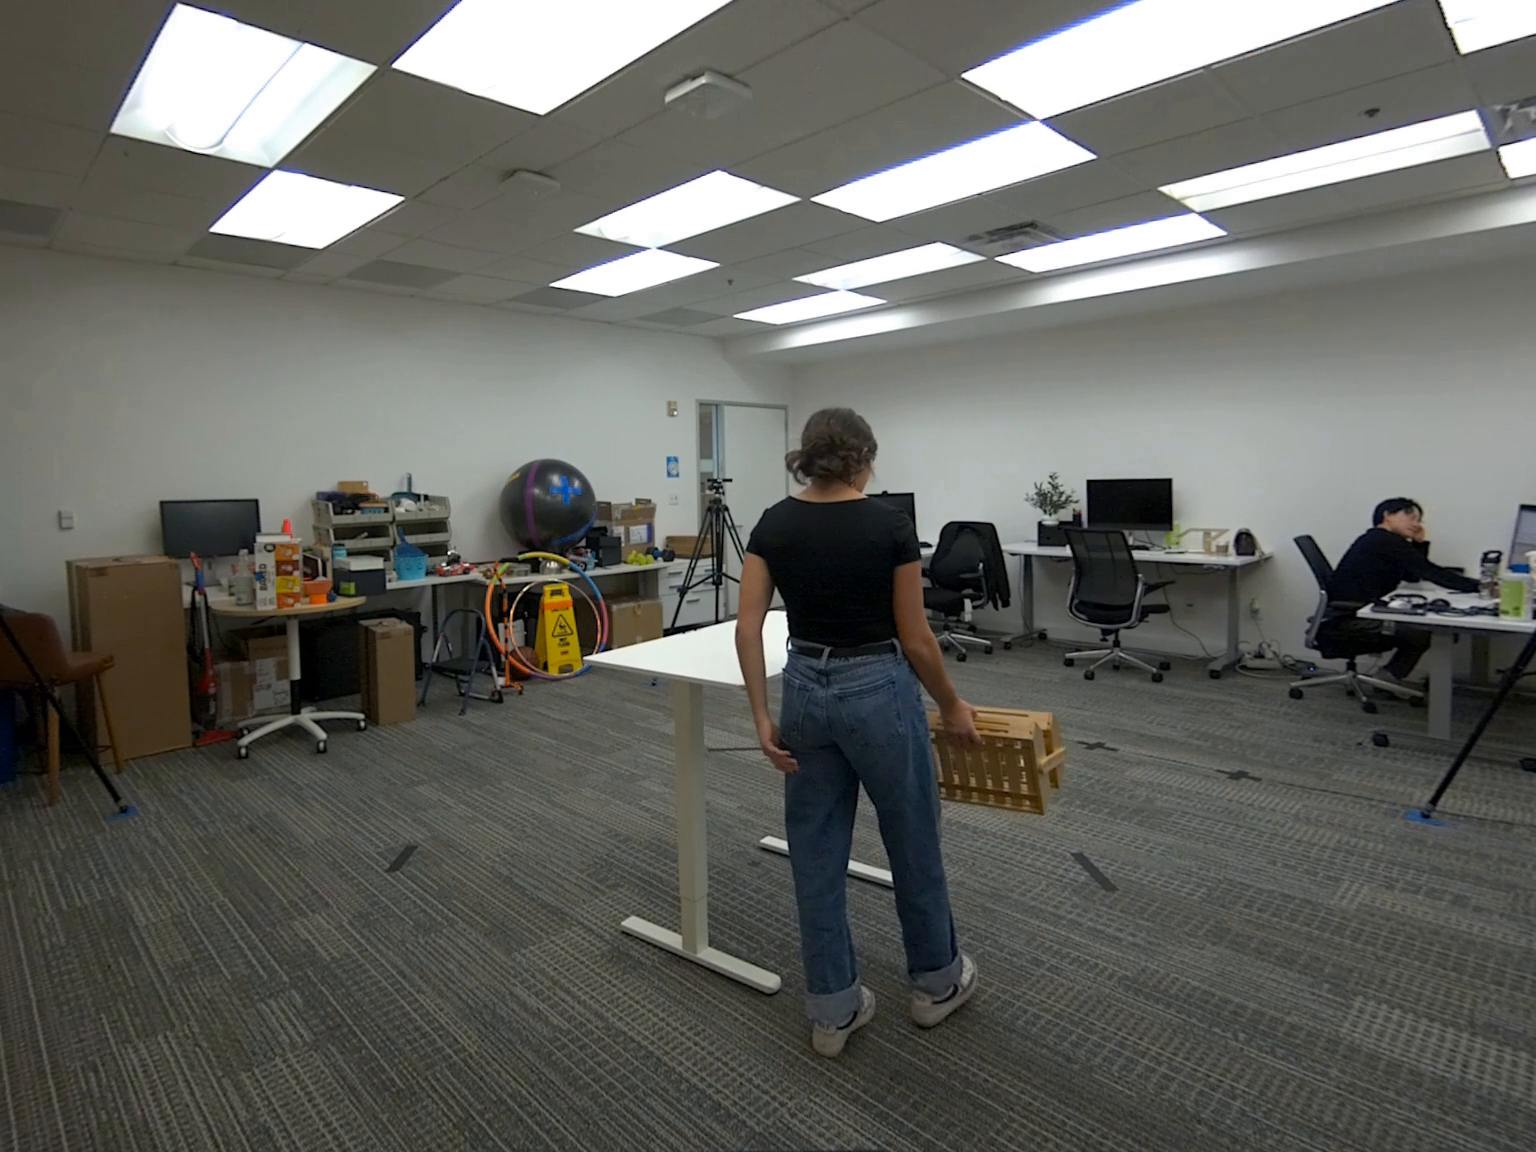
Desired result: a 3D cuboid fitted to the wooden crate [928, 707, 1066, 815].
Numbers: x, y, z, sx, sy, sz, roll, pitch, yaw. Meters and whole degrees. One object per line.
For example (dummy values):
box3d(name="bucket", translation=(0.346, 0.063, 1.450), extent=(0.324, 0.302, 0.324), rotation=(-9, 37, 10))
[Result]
box3d(name="wooden crate", translation=(0.605, 0.447, 2.290), extent=(0.332, 0.295, 0.273), rotation=(-1, 27, 30))
